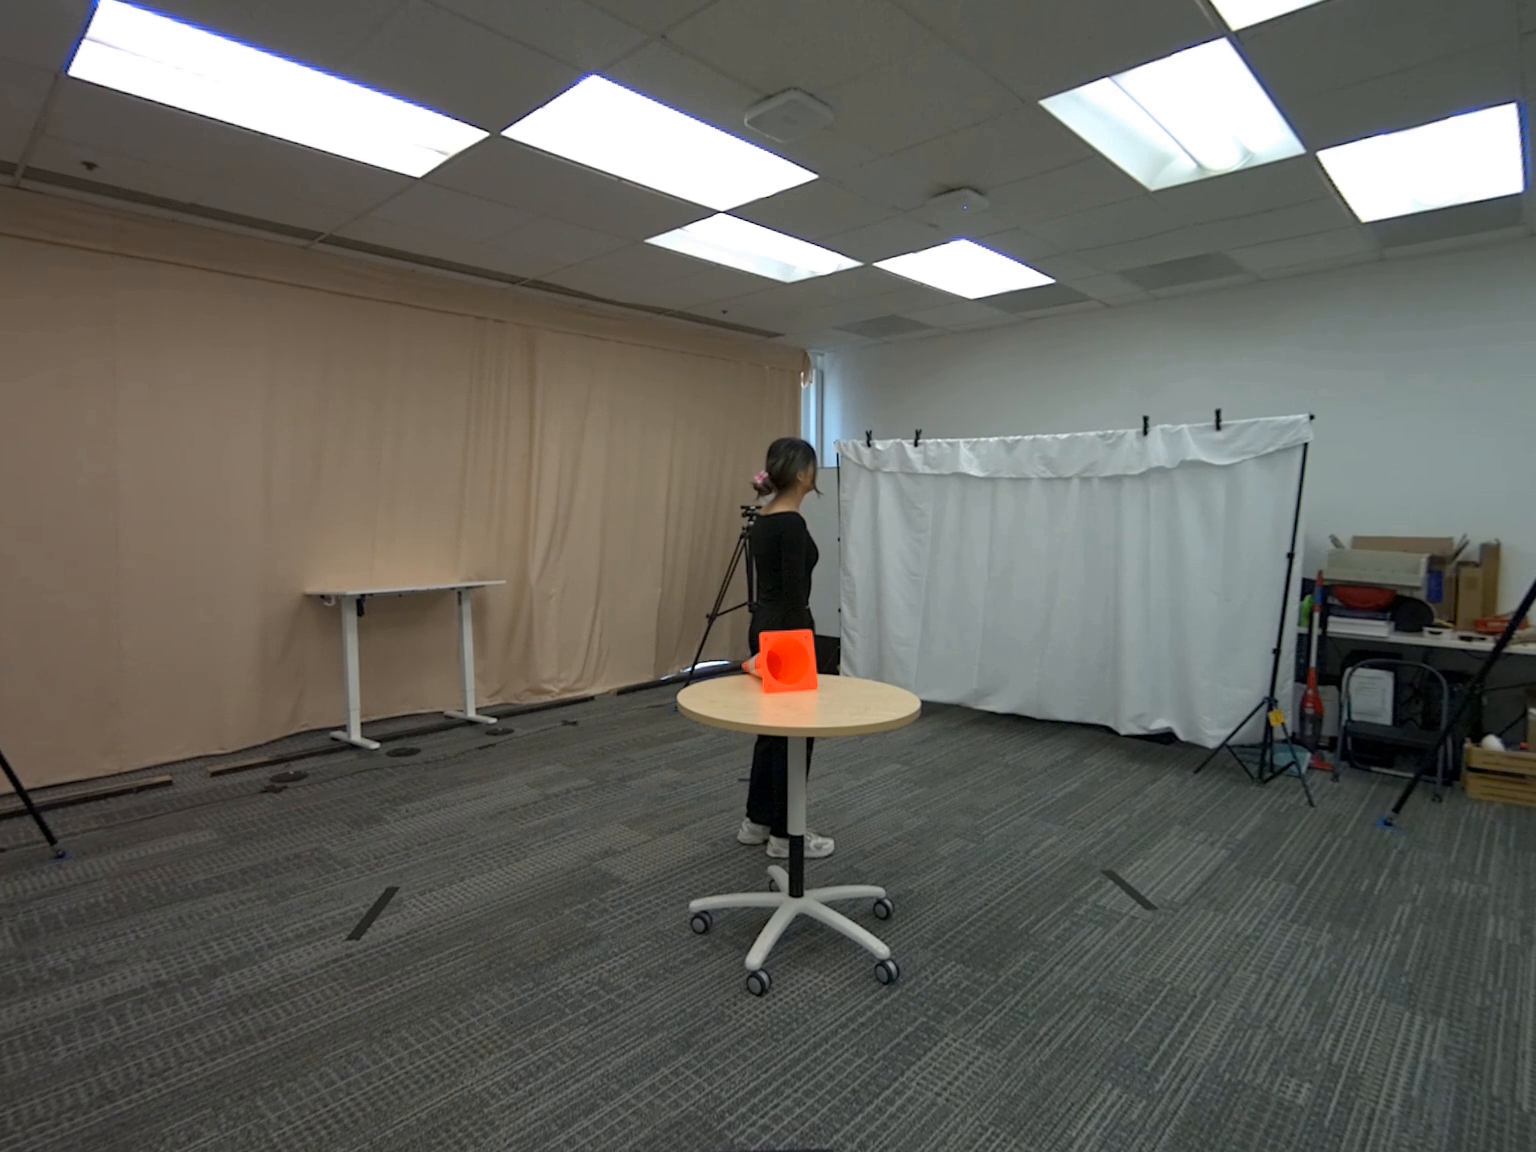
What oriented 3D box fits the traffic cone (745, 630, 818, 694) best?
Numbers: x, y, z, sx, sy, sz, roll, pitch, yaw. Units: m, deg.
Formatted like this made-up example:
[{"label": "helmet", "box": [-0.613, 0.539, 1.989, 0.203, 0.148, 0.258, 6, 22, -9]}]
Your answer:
[{"label": "traffic cone", "box": [-0.009, 0.309, 2.945, 0.201, 0.204, 0.389, 2, -8, -21]}]
